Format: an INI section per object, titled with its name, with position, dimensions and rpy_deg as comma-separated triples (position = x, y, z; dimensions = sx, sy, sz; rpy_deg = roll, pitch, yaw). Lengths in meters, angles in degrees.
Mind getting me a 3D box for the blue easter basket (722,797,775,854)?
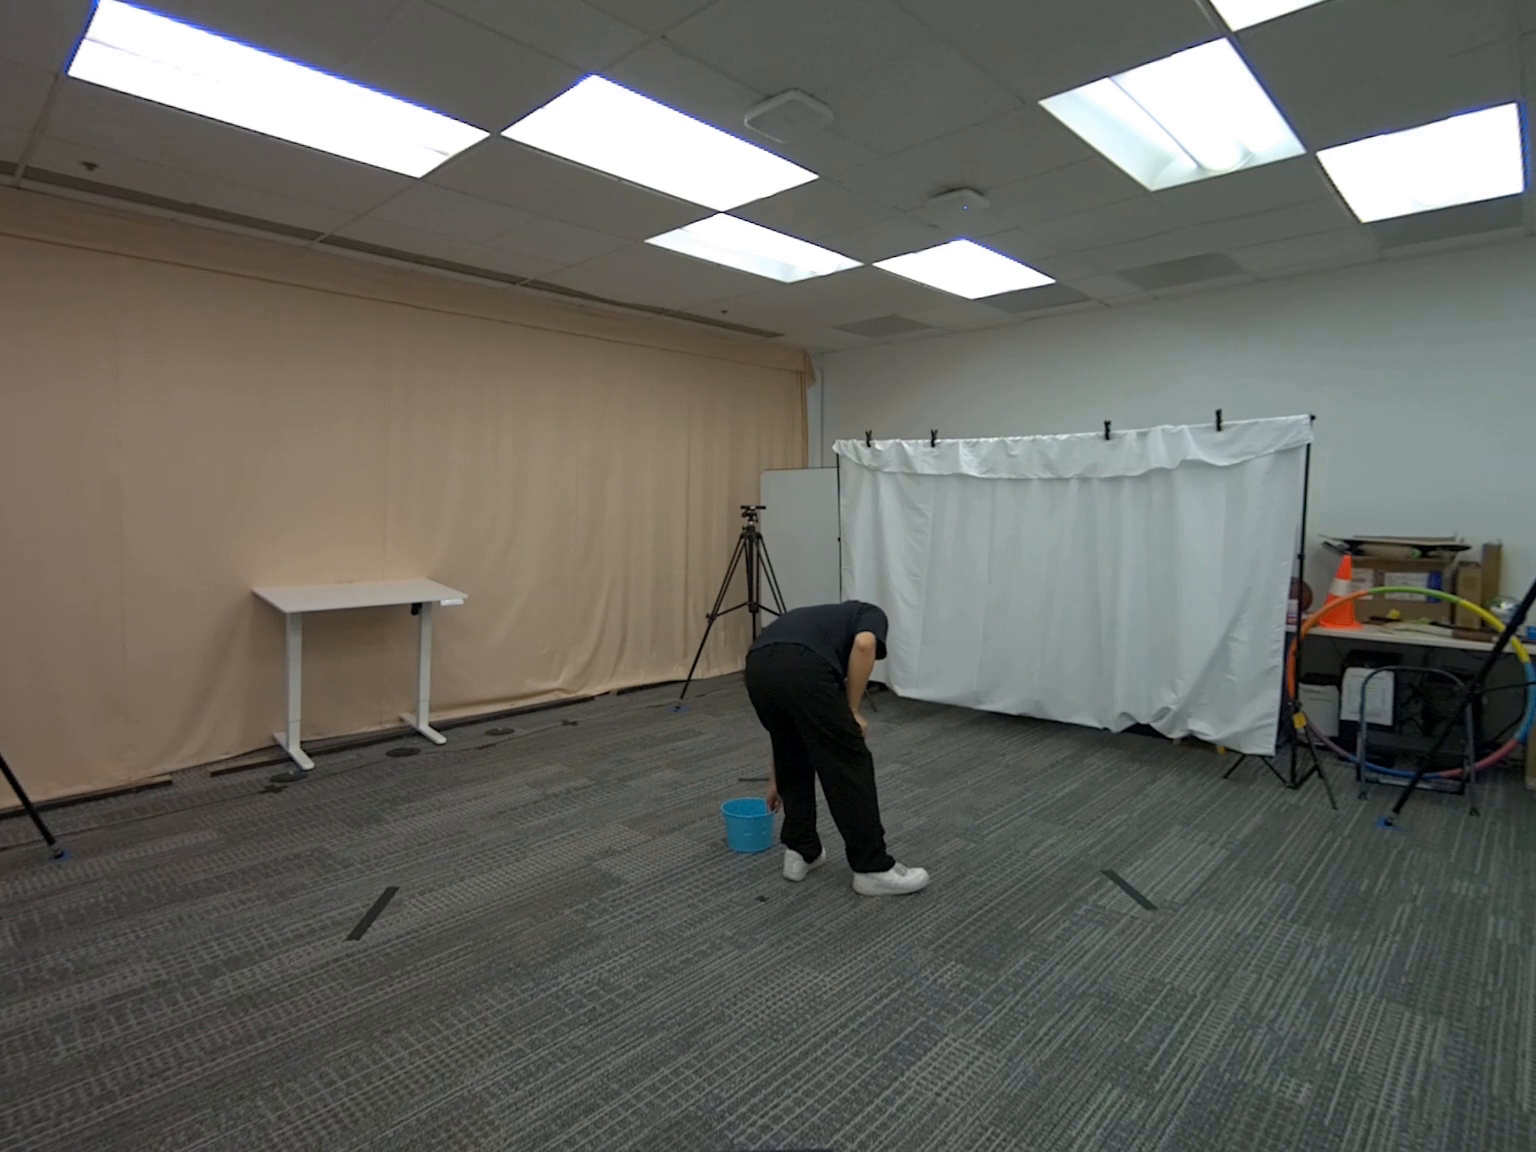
[blue easter basket]
position = -0.073, 1.025, 3.459
dimensions = 0.243, 0.155, 0.244
rpy_deg = -1, 3, -2
